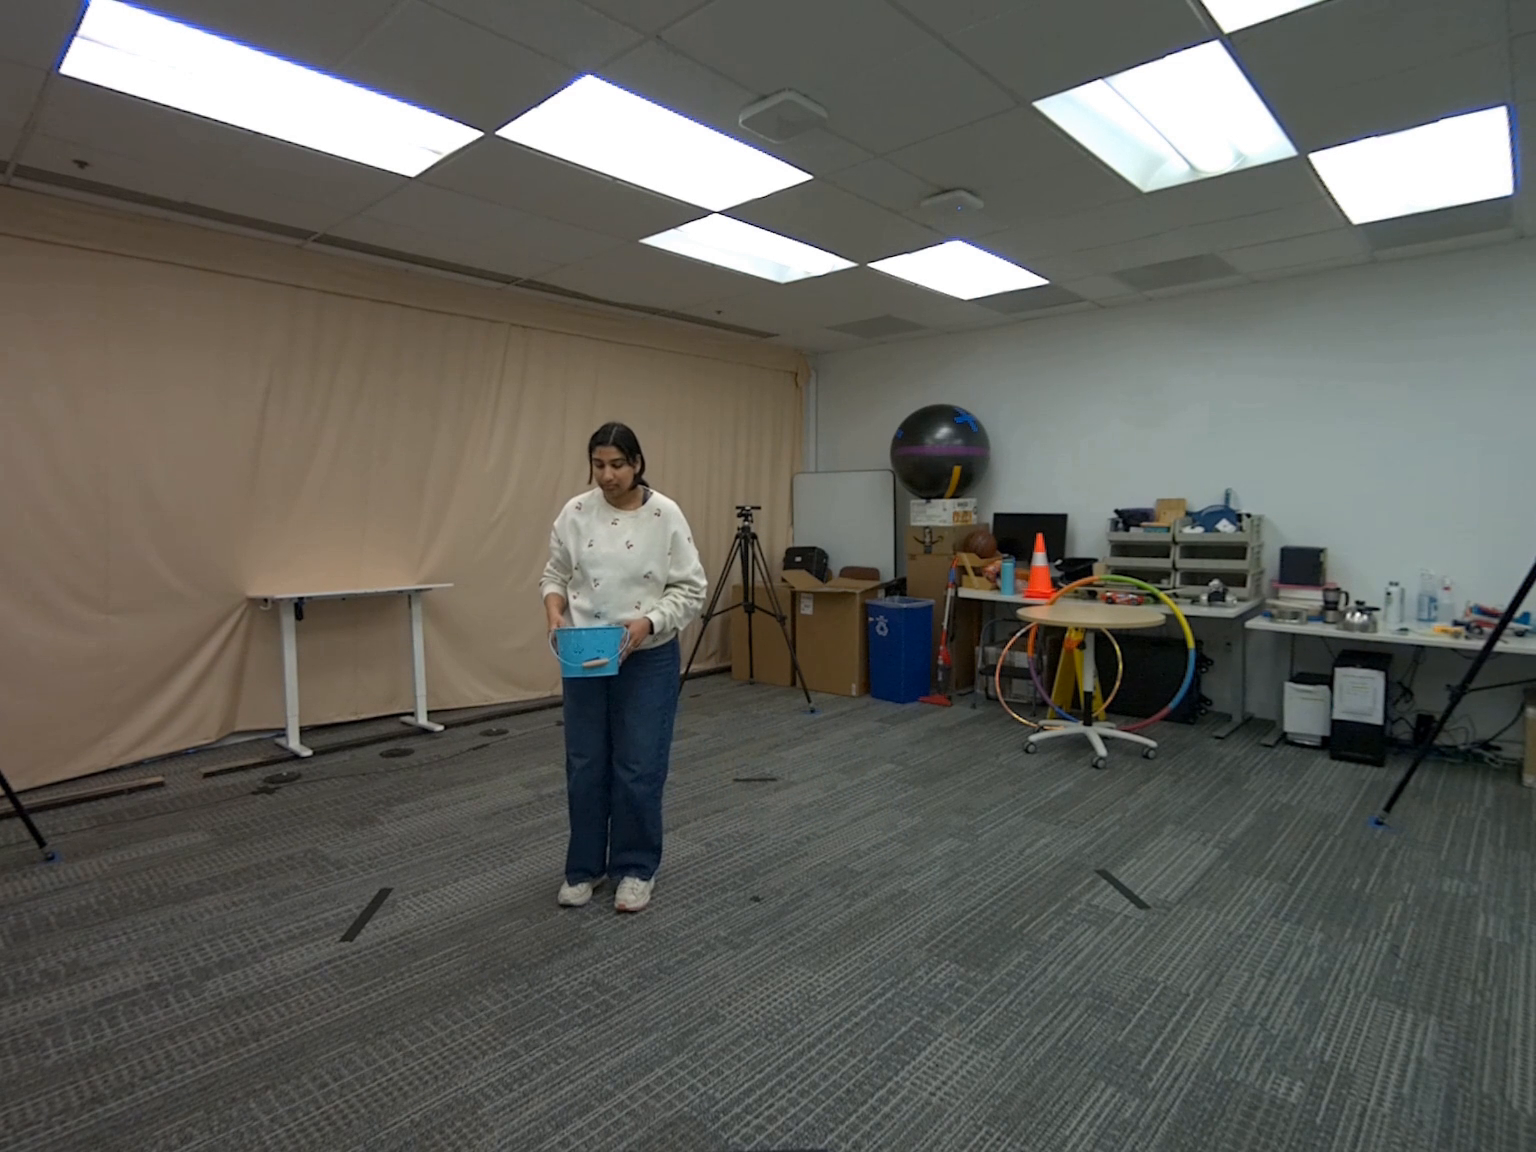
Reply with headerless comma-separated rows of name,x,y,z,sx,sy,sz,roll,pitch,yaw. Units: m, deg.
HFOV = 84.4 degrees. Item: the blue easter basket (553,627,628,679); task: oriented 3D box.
blue easter basket,-0.595,0.251,2.698,0.243,0.156,0.243,-3,-2,-2
